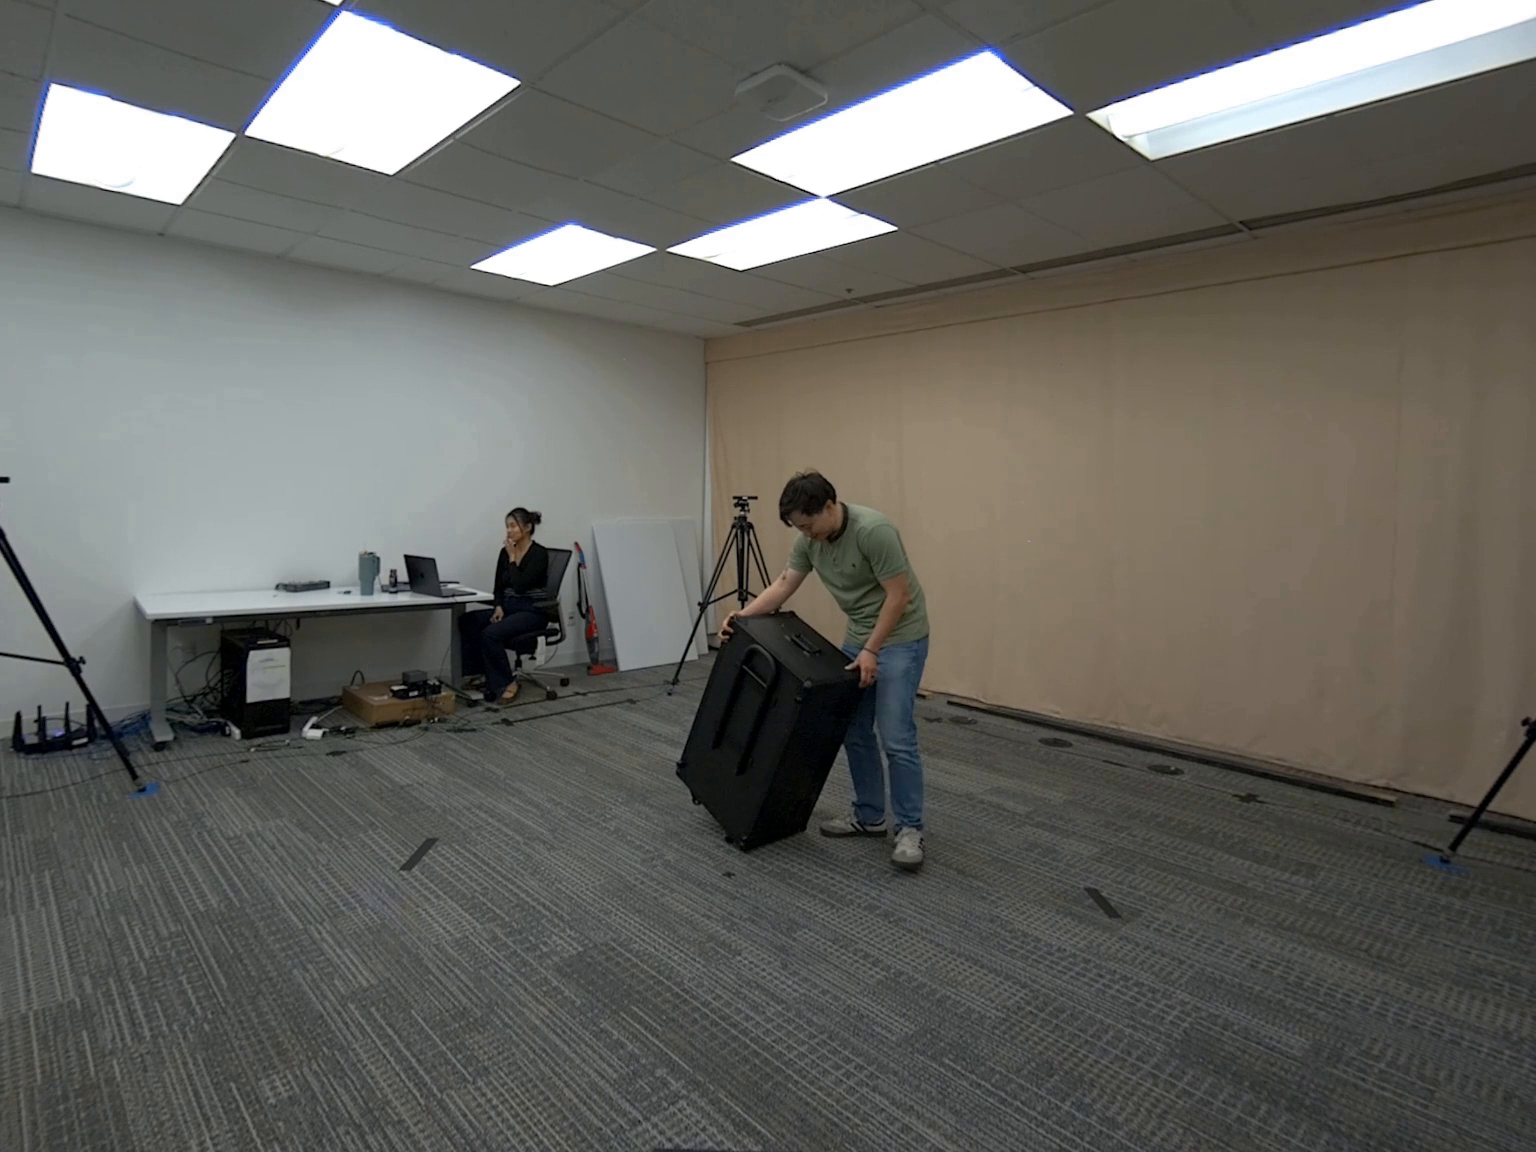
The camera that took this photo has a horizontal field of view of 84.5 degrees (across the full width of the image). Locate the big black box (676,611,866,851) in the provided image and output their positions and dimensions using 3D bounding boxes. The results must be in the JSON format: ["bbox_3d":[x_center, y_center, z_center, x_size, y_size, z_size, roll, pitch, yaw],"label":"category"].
[{"bbox_3d":[-0.018,0.644,3.407,0.387,0.853,0.538,-3,30,-42],"label":"big black box"}]
